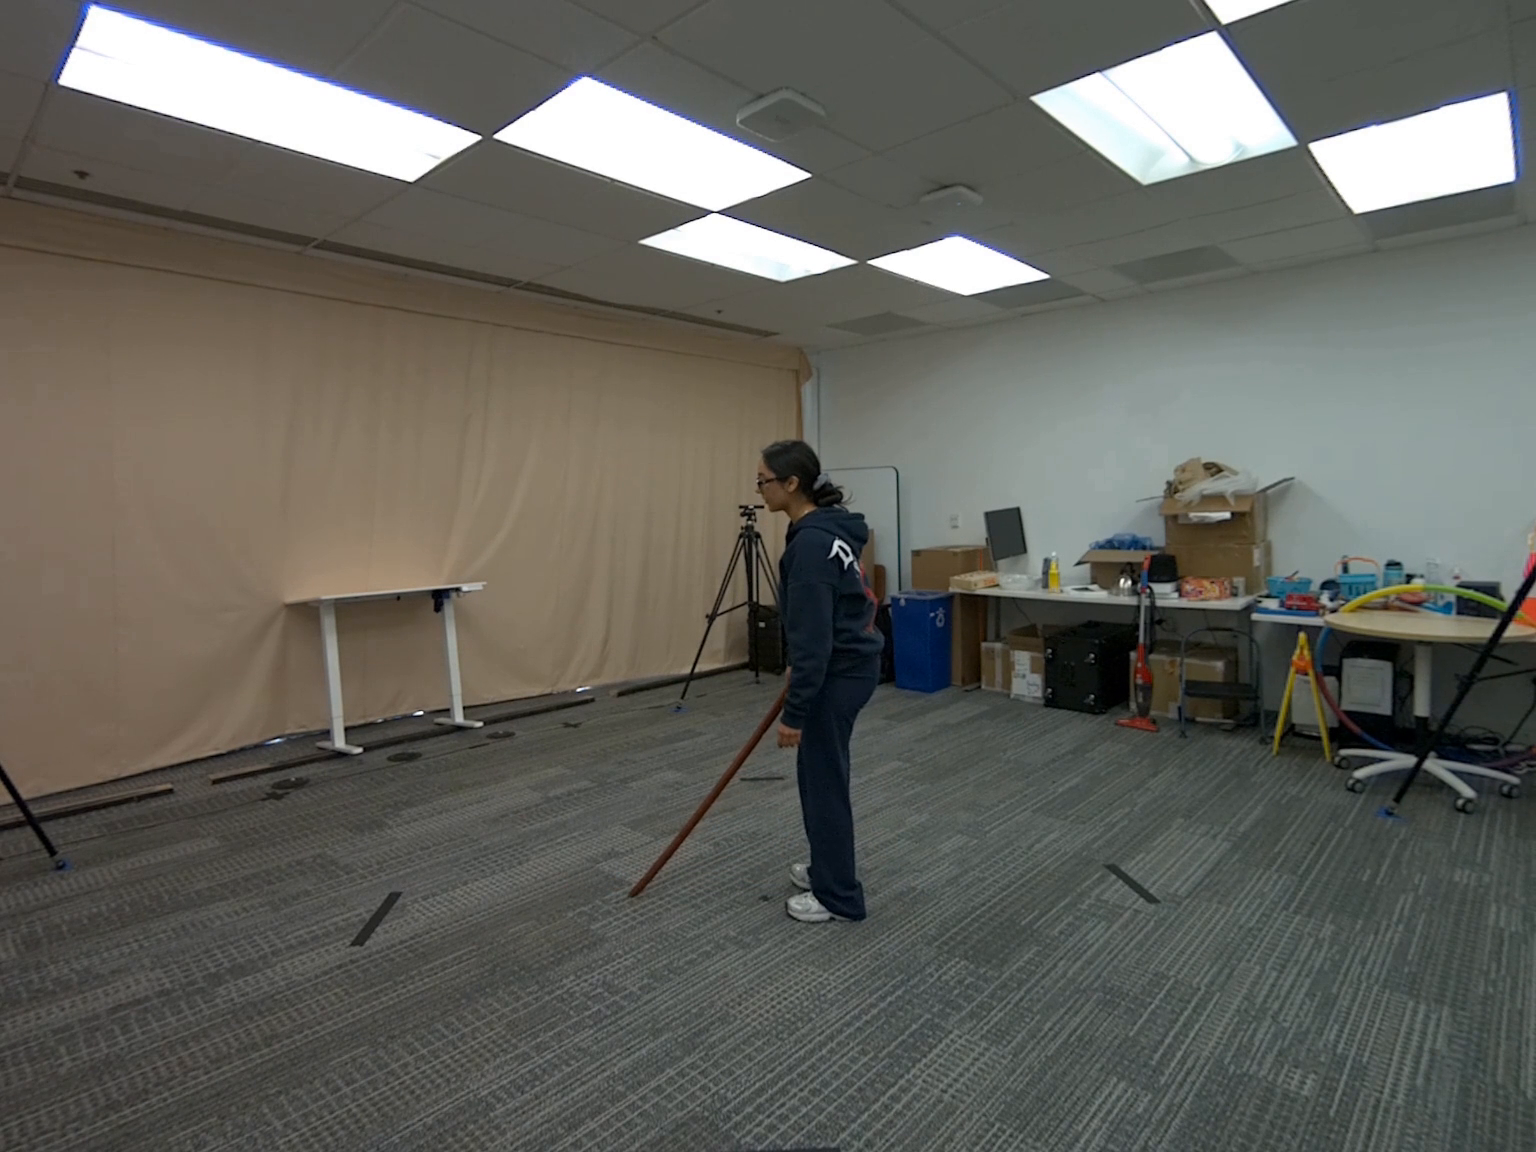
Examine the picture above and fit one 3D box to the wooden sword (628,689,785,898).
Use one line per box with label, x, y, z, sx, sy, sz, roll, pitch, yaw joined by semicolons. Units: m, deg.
wooden sword;-0.181;0.757;3.019;0.052;1.024;0.024;37;-1;10
